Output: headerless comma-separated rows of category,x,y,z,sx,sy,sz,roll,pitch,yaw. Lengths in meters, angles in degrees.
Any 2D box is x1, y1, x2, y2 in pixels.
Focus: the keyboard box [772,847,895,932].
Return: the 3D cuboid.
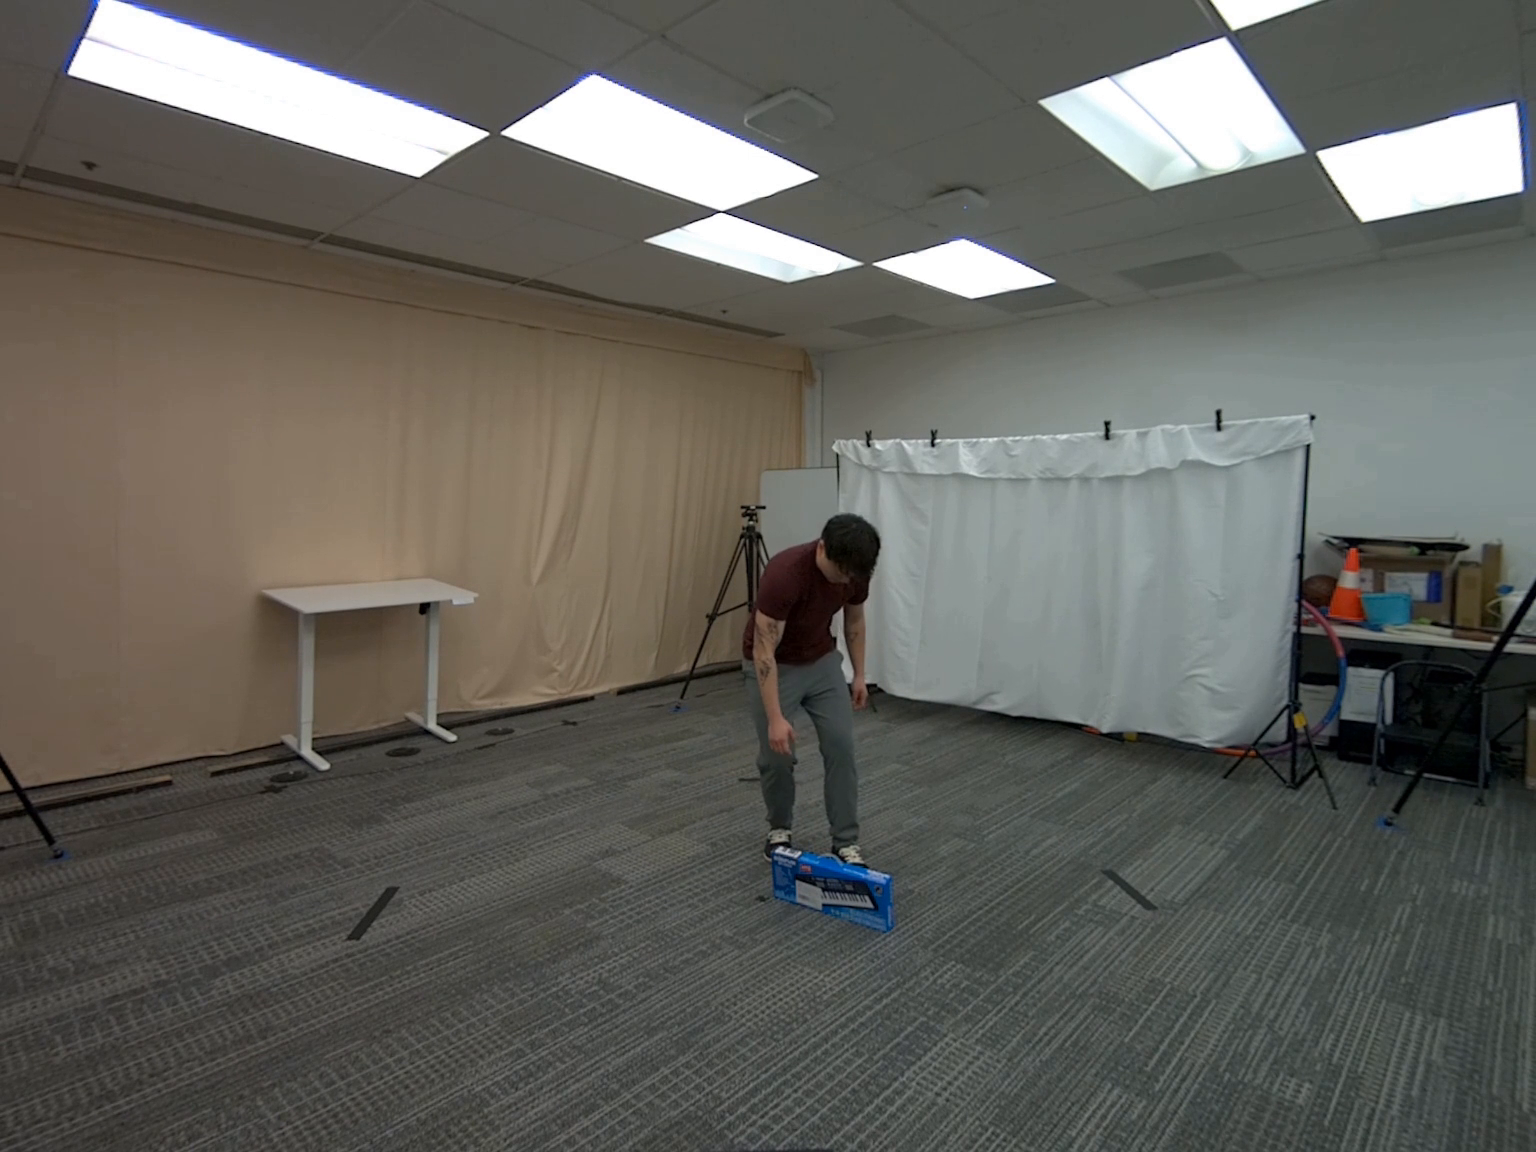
keyboard box,0.215,1.063,2.878,0.450,0.175,0.058,3,11,35
